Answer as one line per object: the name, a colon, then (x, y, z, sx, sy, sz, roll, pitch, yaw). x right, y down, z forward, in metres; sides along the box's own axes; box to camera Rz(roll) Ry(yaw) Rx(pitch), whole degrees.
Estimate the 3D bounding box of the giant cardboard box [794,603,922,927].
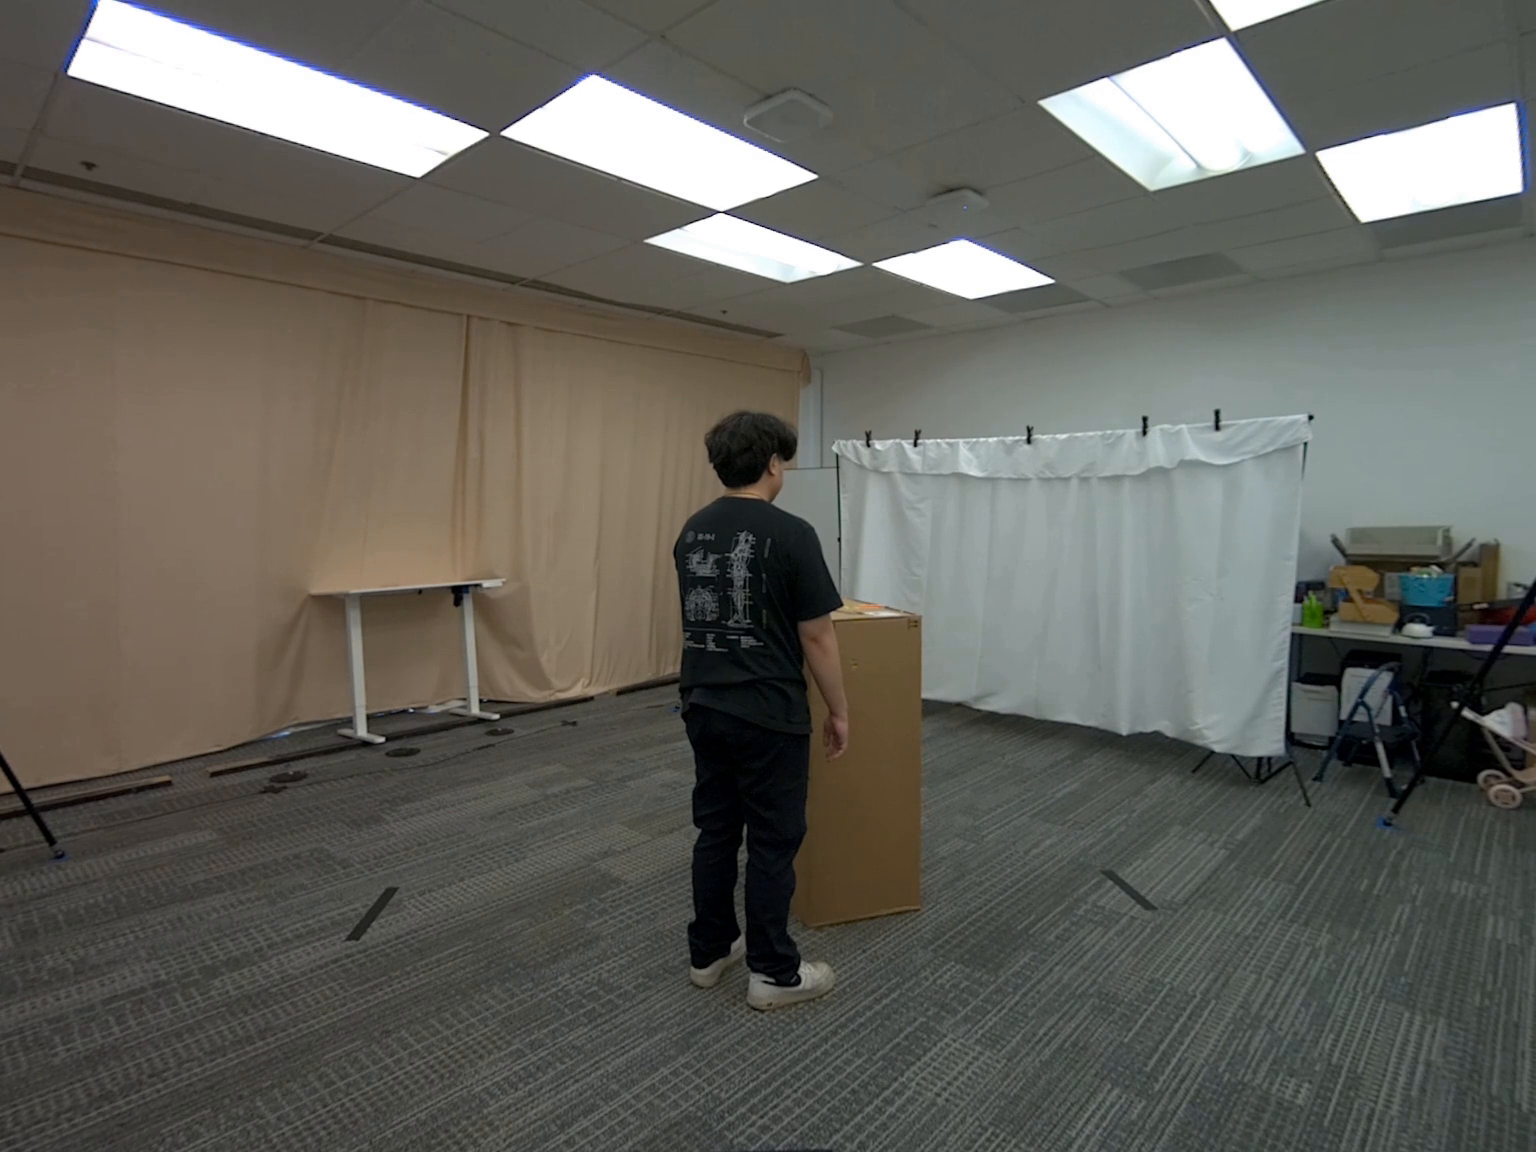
giant cardboard box: (0.229, 0.623, 3.078, 0.438, 1.025, 0.597, -1, 3, -21)
